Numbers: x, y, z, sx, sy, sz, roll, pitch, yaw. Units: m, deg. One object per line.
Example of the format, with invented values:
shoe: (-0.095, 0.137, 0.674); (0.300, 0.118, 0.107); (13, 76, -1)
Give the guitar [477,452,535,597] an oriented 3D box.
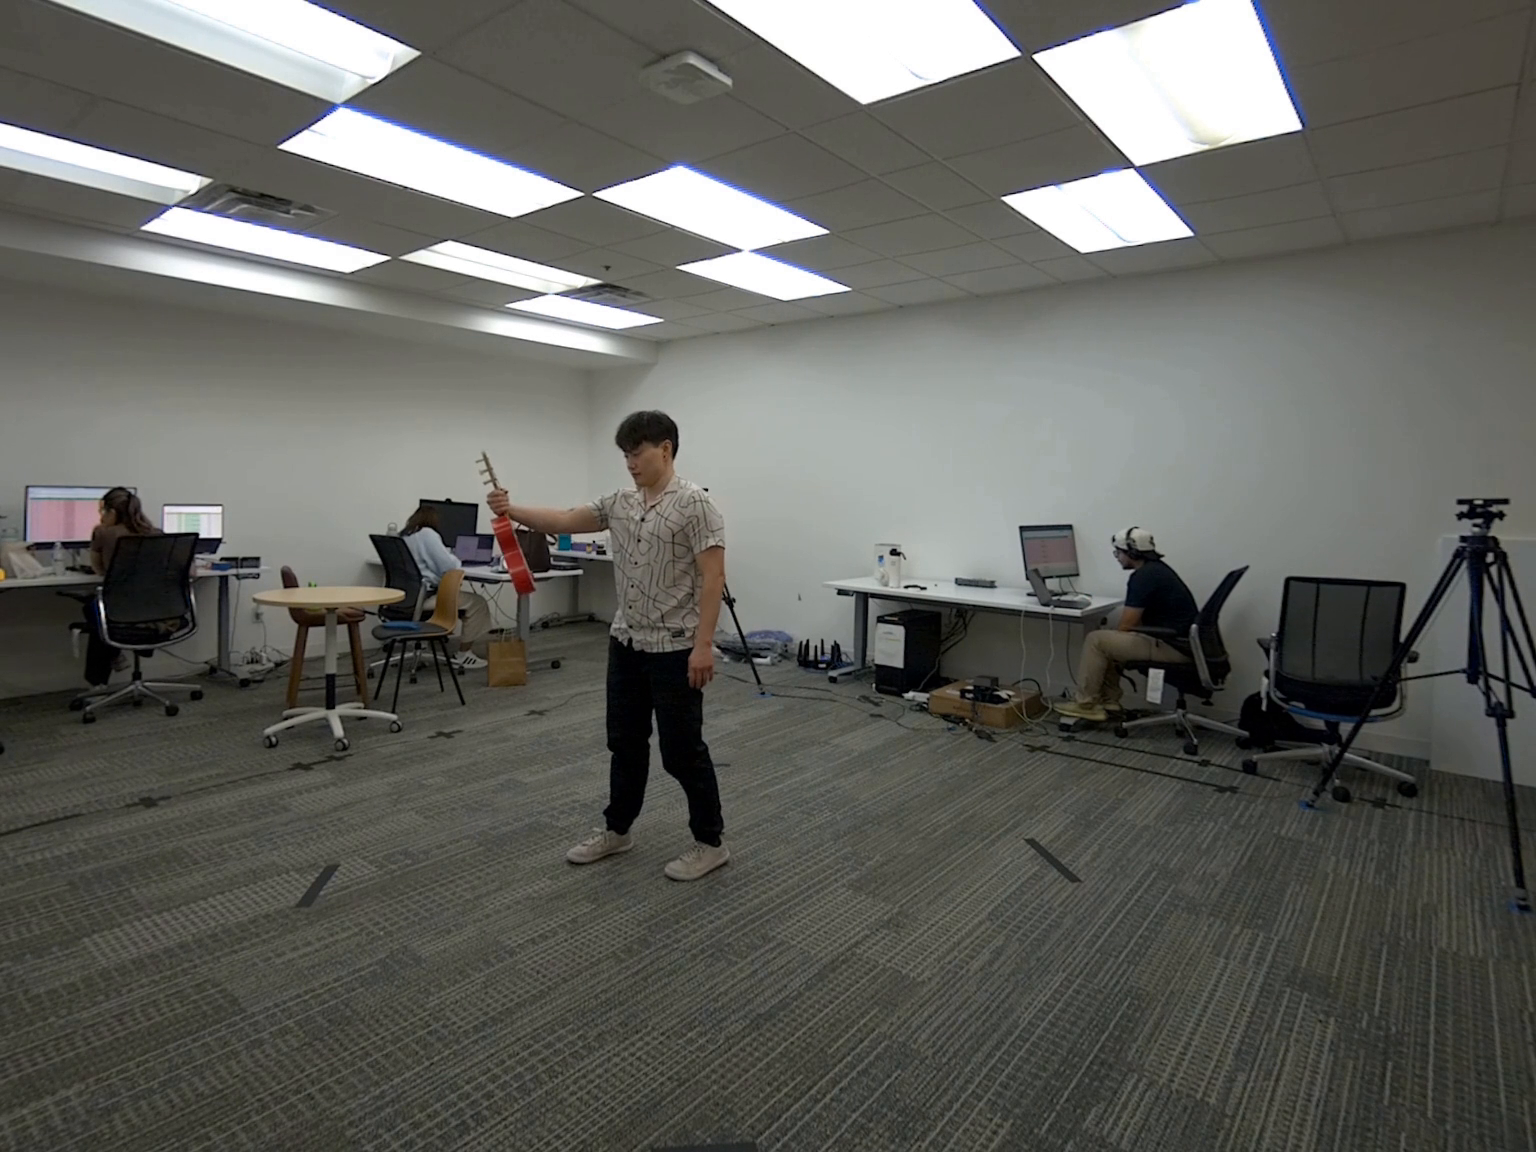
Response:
guitar: (-0.905, -0.169, 2.879); (0.070, 0.501, 0.193); (-20, -4, -11)
